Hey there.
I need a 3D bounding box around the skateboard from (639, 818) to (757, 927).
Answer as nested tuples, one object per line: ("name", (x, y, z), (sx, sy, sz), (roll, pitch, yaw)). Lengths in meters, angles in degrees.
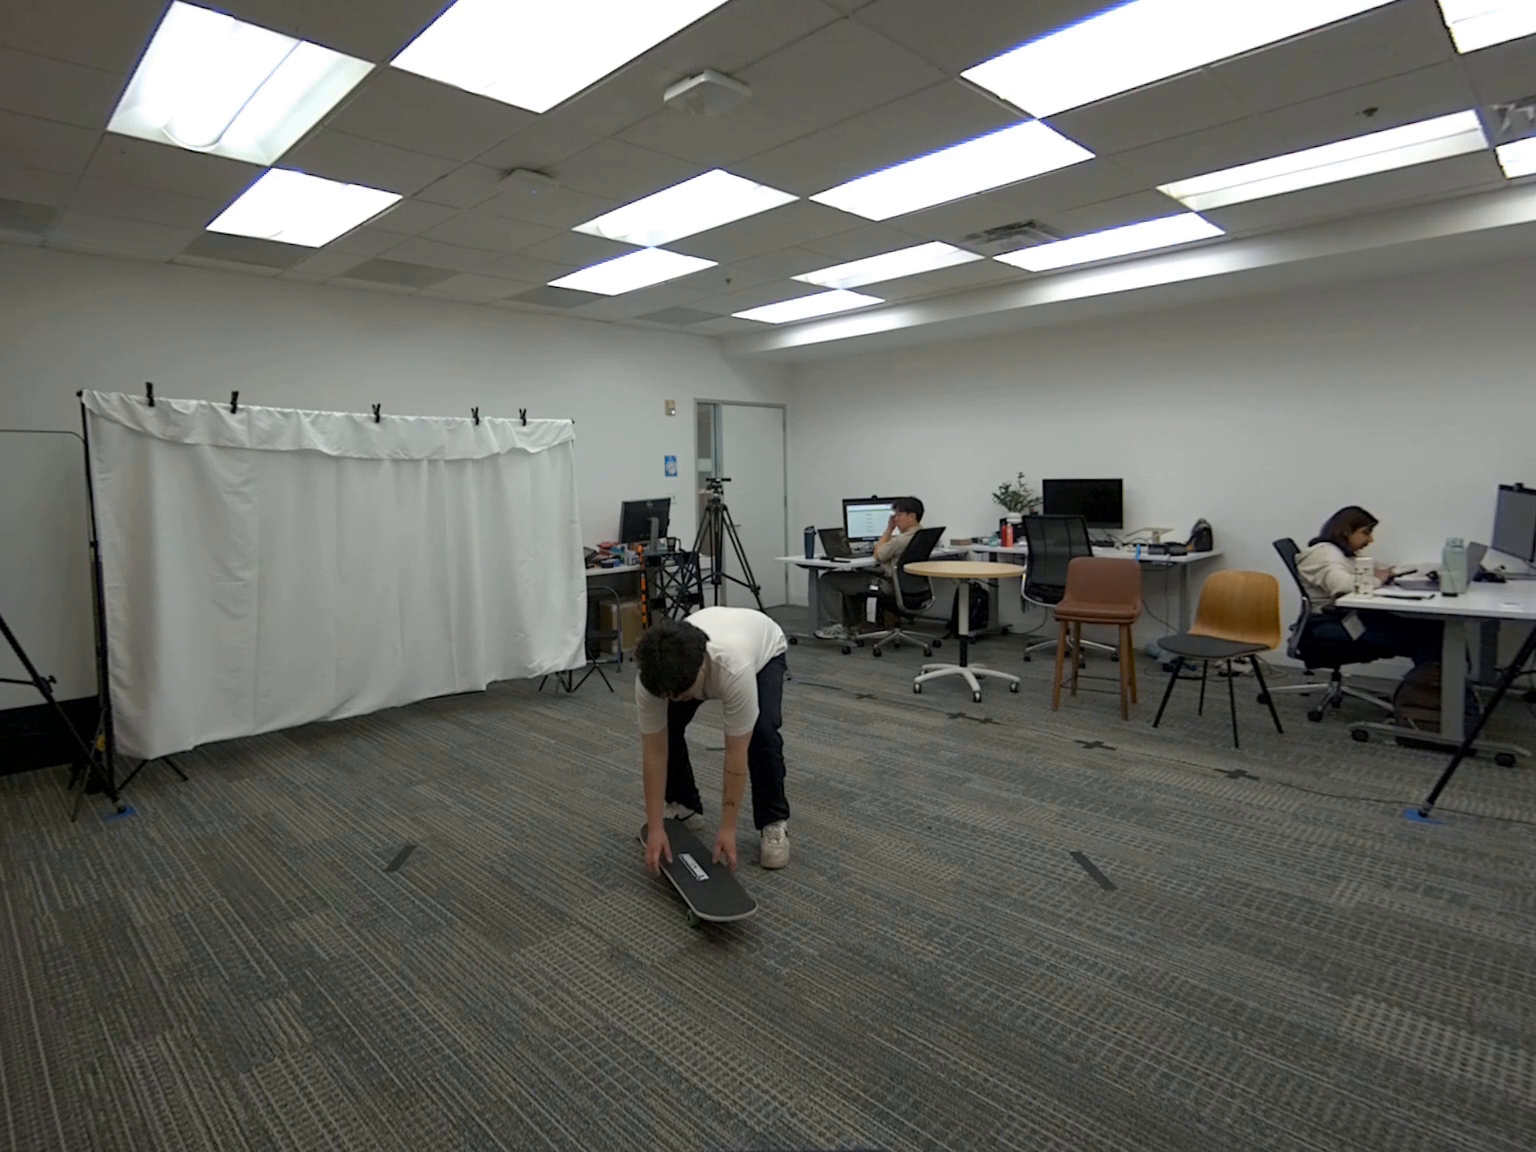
("skateboard", (-0.248, 1.014, 2.892), (0.190, 0.110, 0.804), (-4, 7, -24))
